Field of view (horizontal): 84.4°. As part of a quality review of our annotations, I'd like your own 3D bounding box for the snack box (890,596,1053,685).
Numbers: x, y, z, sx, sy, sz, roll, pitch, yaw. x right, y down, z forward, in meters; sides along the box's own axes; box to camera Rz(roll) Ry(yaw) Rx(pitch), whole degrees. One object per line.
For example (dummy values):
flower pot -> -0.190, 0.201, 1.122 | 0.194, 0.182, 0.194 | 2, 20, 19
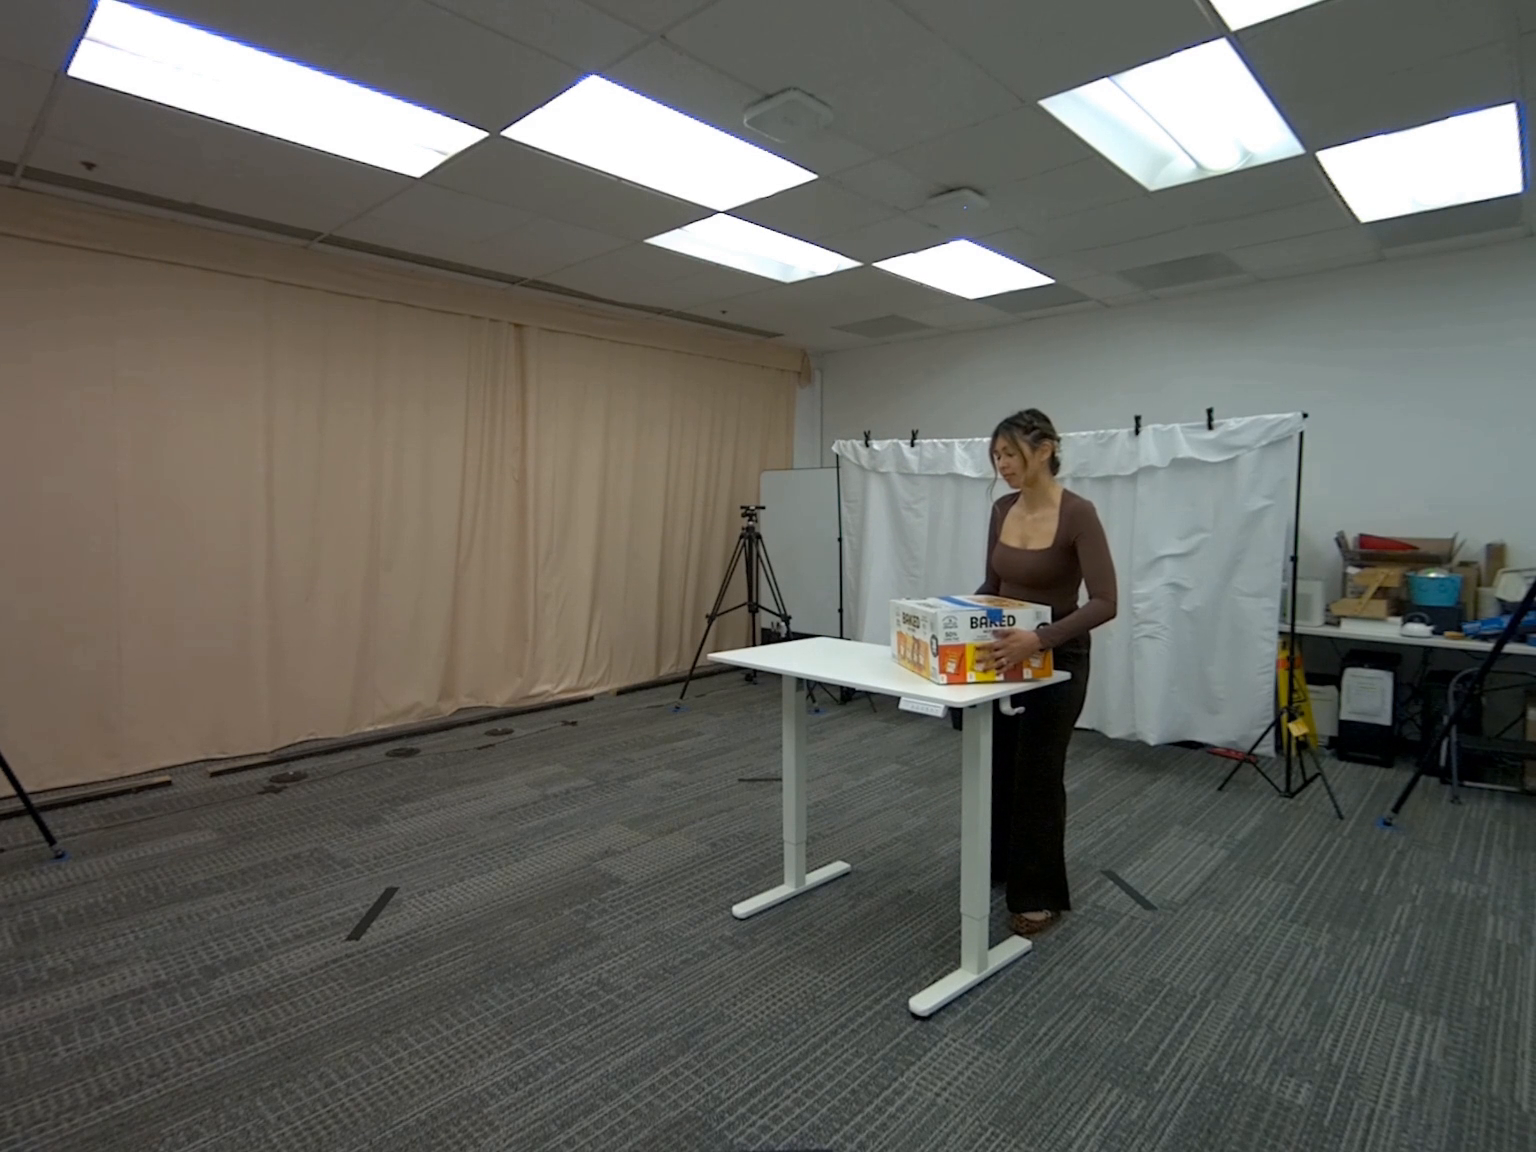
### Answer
snack box -> 0.606, 0.181, 2.566 | 0.338, 0.205, 0.409 | -1, 3, -8
